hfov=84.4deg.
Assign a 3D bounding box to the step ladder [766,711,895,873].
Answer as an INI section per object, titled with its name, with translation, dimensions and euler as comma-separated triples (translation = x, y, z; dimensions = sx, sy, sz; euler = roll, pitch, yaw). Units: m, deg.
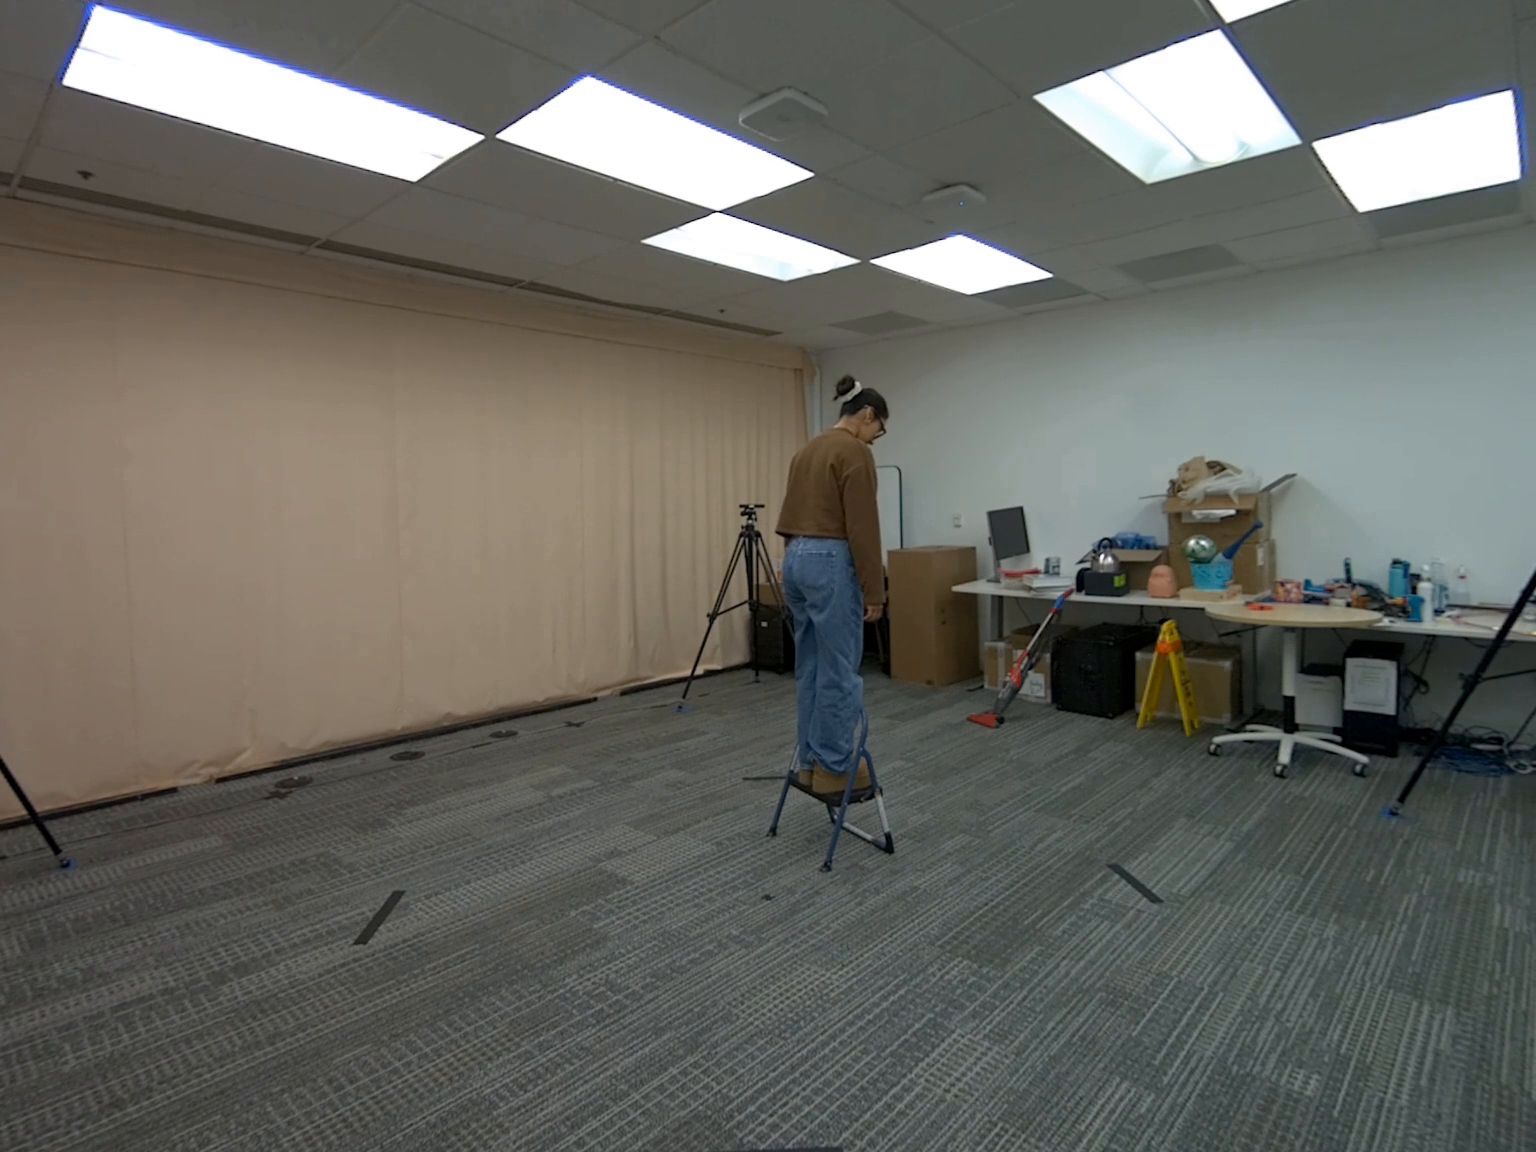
[step ladder]
translation = 0.254, 0.794, 3.429
dimensions = 0.340, 0.605, 0.443
euler = -2, 3, -30
